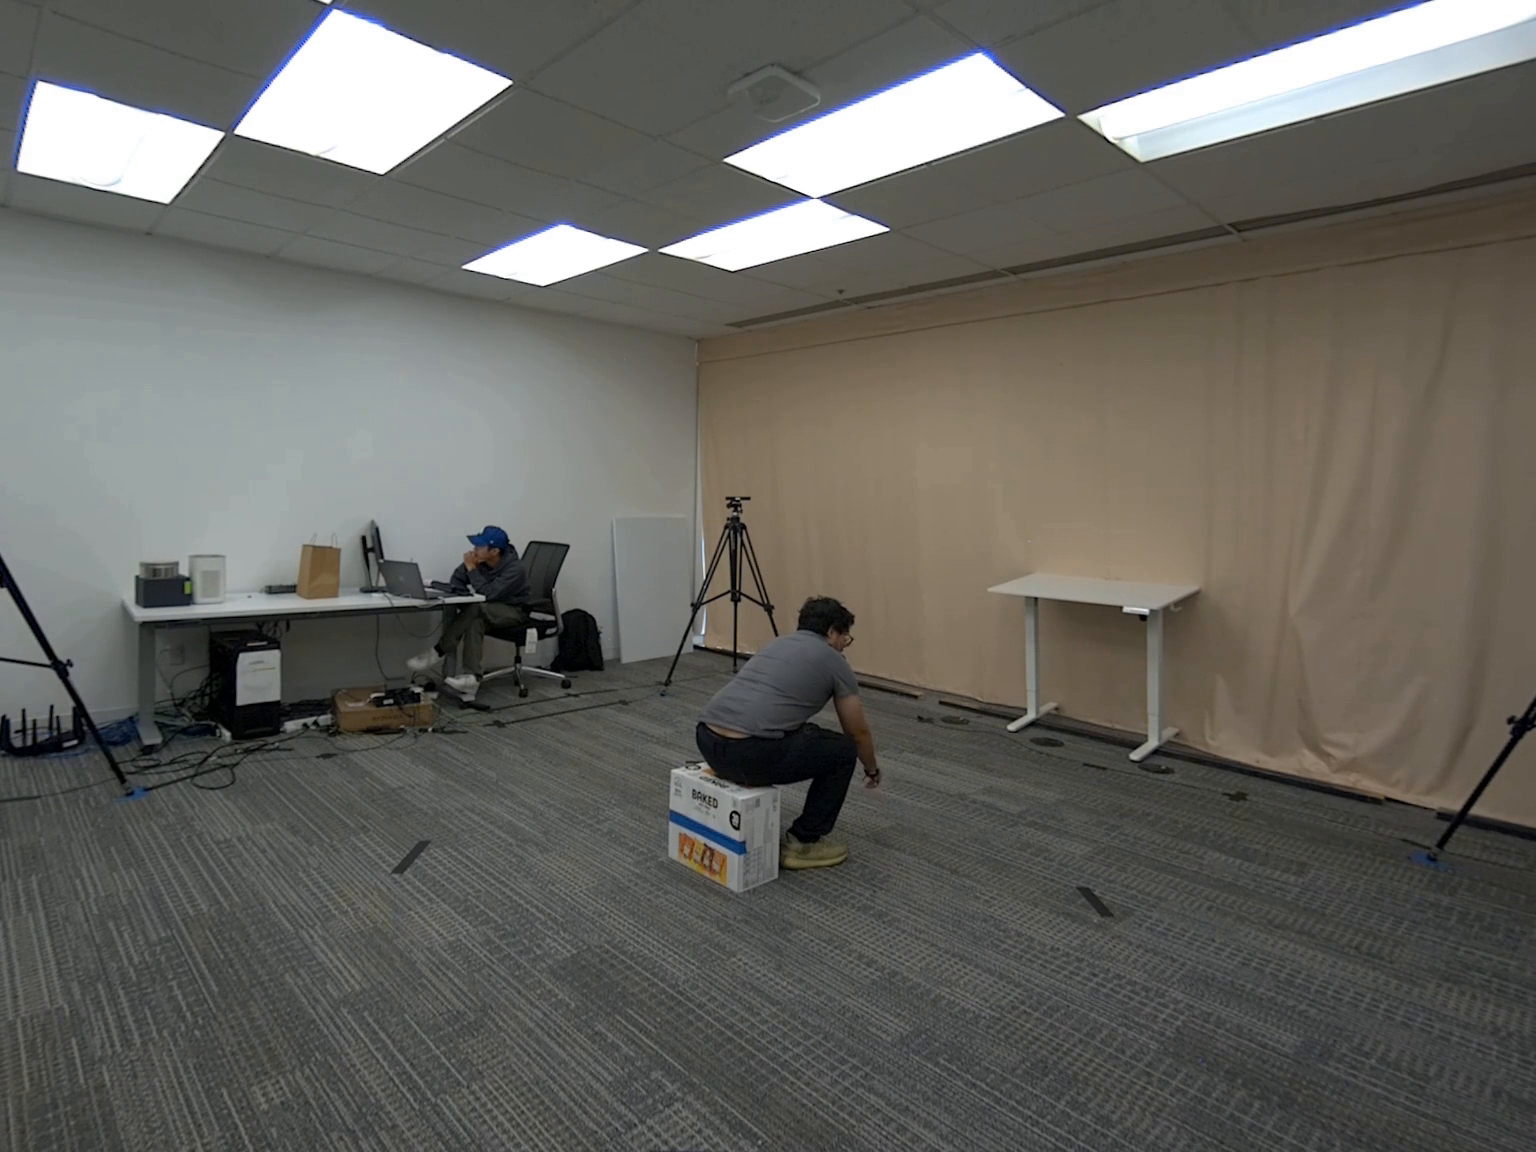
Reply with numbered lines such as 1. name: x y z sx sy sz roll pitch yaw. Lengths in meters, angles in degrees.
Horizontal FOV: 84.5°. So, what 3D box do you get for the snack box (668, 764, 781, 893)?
1. snack box: -0.176 0.931 3.166 0.201 0.339 0.415 -1 5 -45
